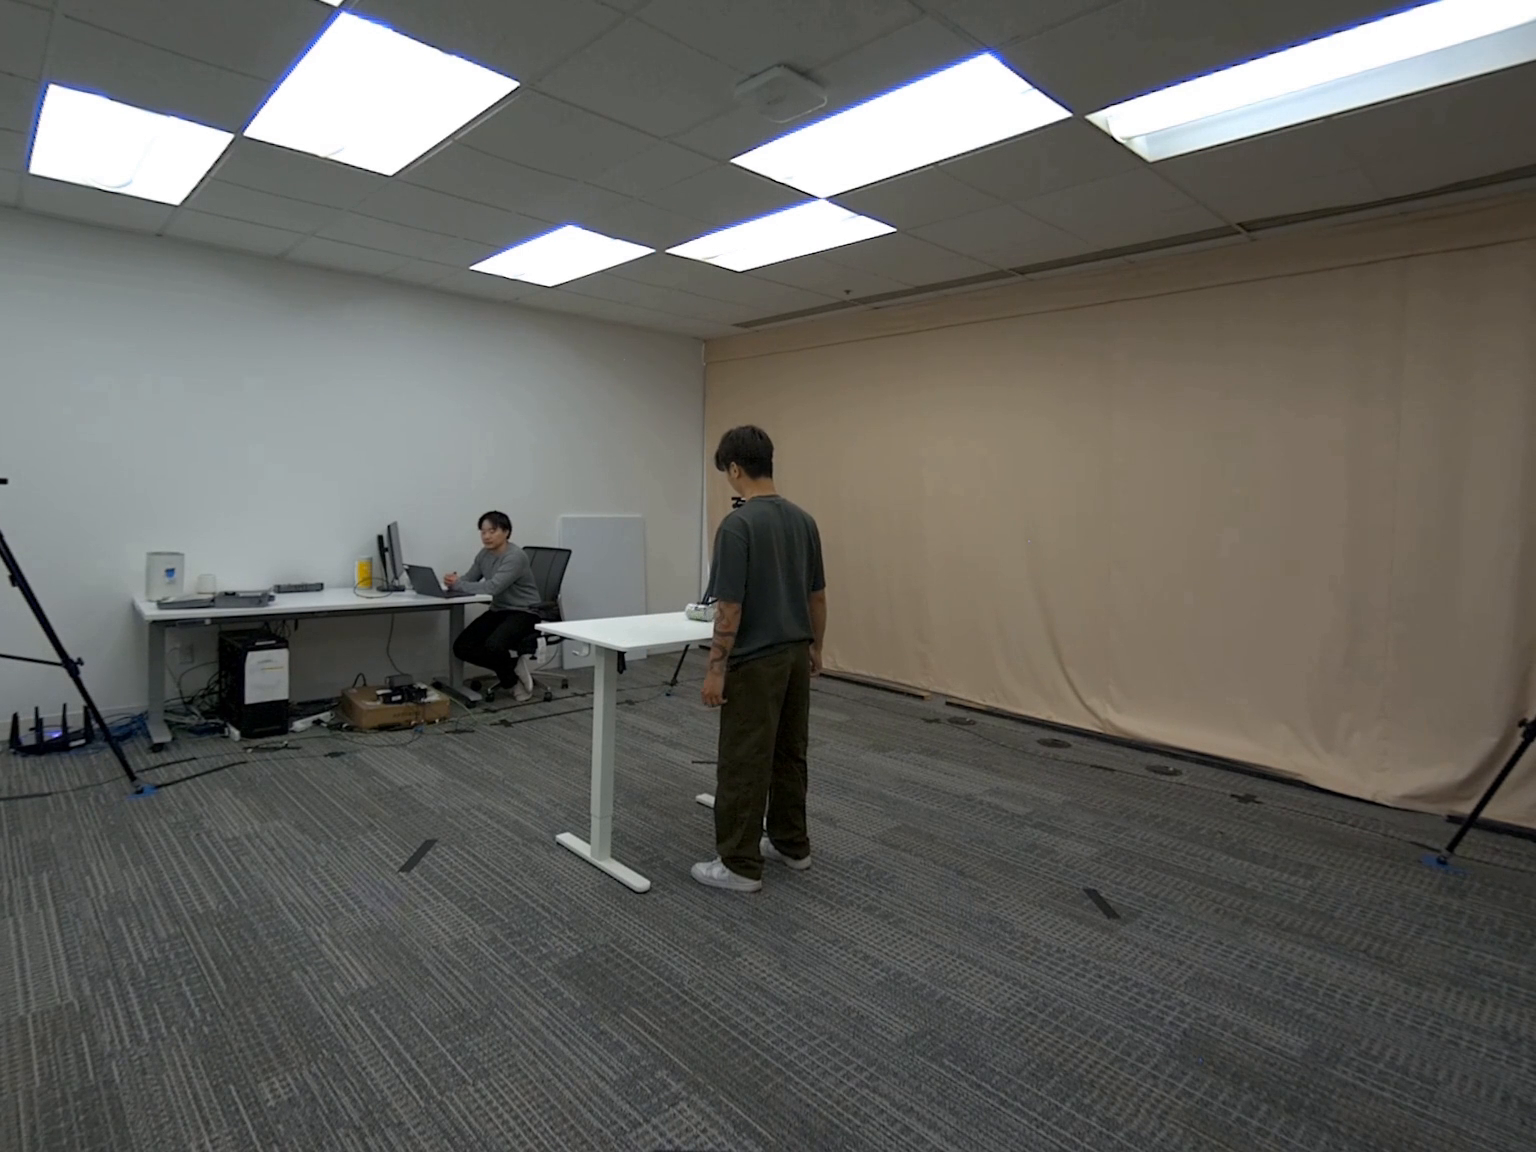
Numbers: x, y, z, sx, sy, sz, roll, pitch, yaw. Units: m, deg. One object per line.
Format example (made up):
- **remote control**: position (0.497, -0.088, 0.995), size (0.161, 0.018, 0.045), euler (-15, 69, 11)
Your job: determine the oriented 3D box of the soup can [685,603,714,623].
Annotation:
- **soup can**: position (-0.304, 0.153, 3.509), size (0.124, 0.067, 0.066), euler (4, 5, 26)
